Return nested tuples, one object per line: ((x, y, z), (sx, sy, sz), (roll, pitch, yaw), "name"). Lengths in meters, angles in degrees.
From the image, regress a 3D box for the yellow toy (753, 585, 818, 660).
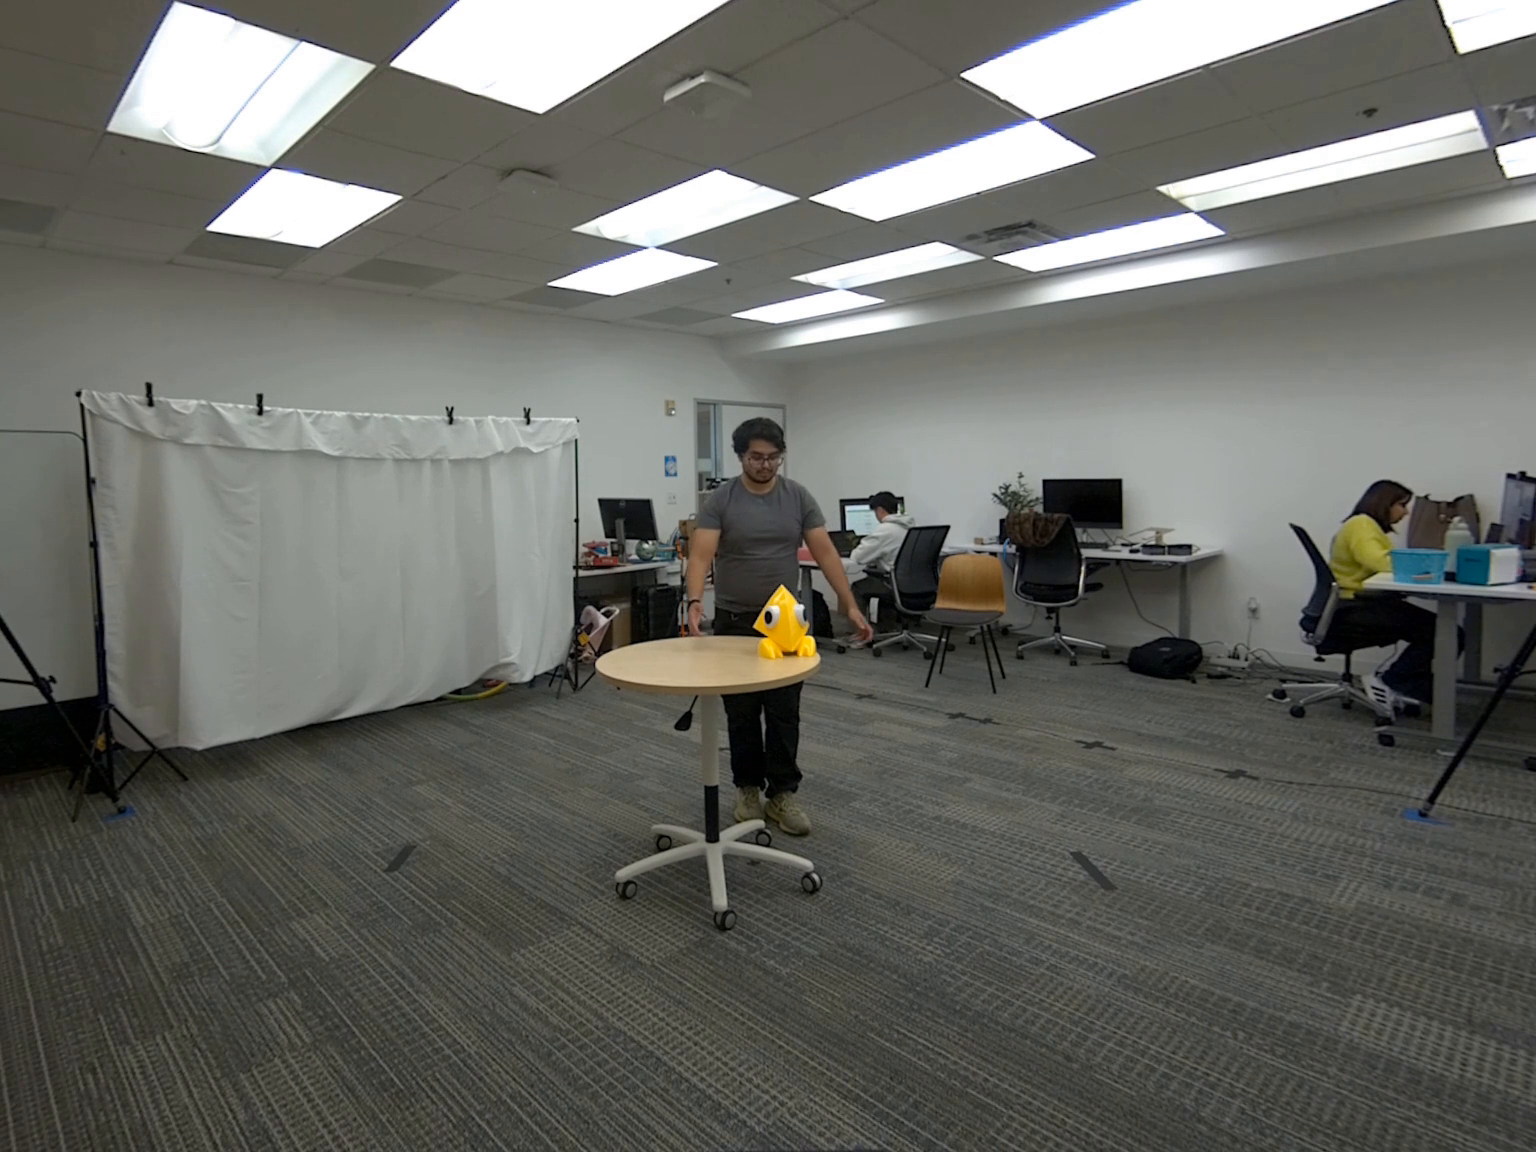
((0.061, 0.155, 2.980), (0.203, 0.229, 0.195), (-2, 6, -9), "yellow toy")
